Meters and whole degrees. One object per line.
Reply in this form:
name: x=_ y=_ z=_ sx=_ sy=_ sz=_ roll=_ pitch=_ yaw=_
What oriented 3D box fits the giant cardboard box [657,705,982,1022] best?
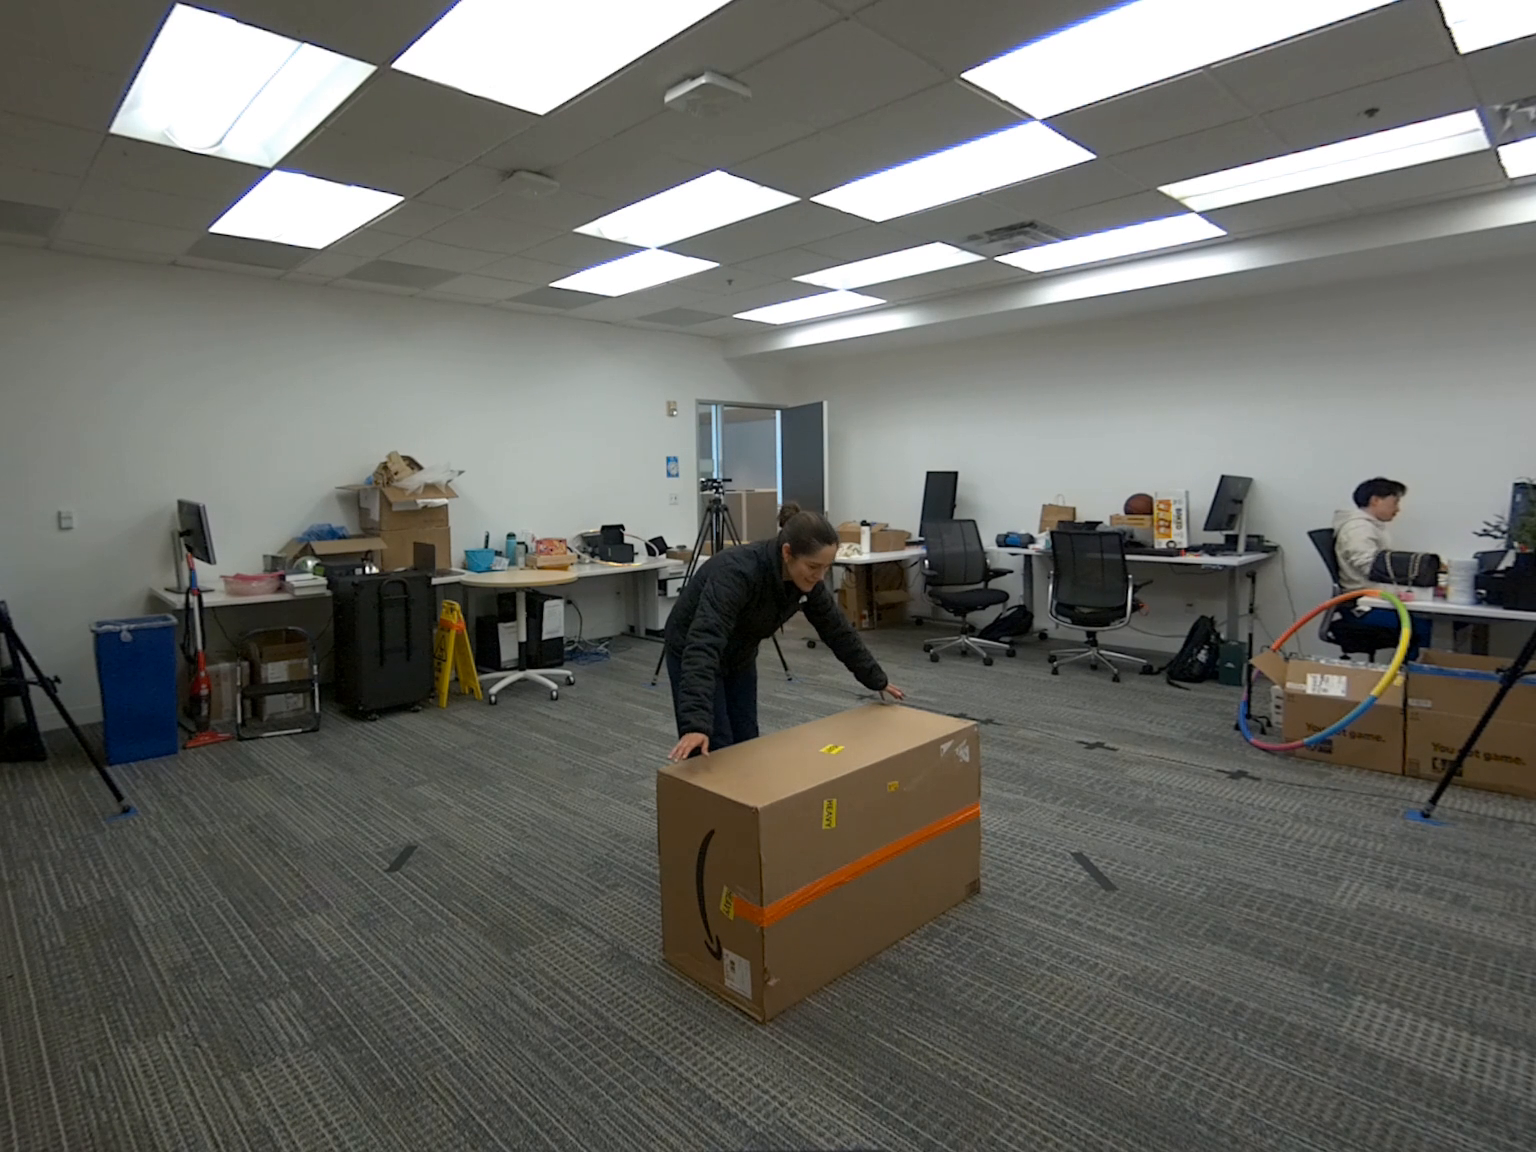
giant cardboard box: x=0.196 y=0.807 z=2.665 sx=1.001 sy=0.581 sz=0.461 roll=-7 pitch=8 yaw=-44
